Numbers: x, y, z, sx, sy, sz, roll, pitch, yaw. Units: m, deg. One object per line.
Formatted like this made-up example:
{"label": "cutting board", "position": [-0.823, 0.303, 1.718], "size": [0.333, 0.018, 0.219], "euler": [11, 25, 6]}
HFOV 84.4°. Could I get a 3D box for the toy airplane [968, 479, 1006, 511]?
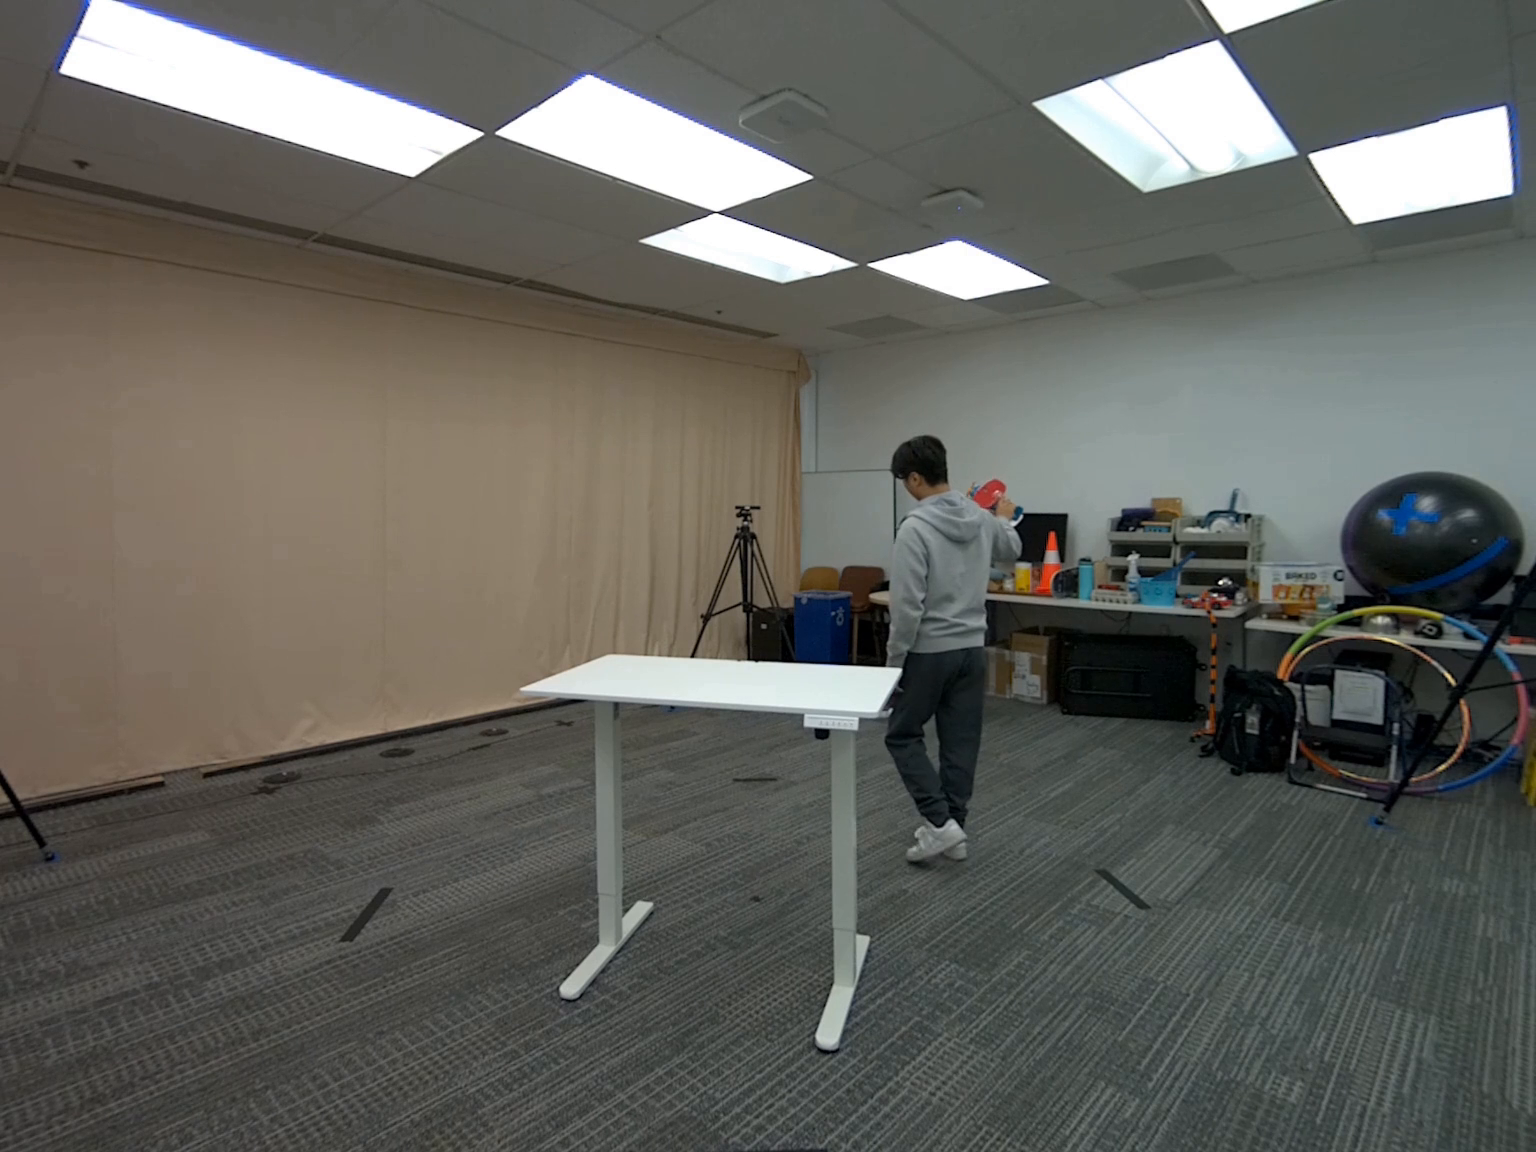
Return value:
{"label": "toy airplane", "position": [1.027, -0.315, 3.817], "size": [0.261, 0.154, 0.253], "euler": [6, 37, 6]}
